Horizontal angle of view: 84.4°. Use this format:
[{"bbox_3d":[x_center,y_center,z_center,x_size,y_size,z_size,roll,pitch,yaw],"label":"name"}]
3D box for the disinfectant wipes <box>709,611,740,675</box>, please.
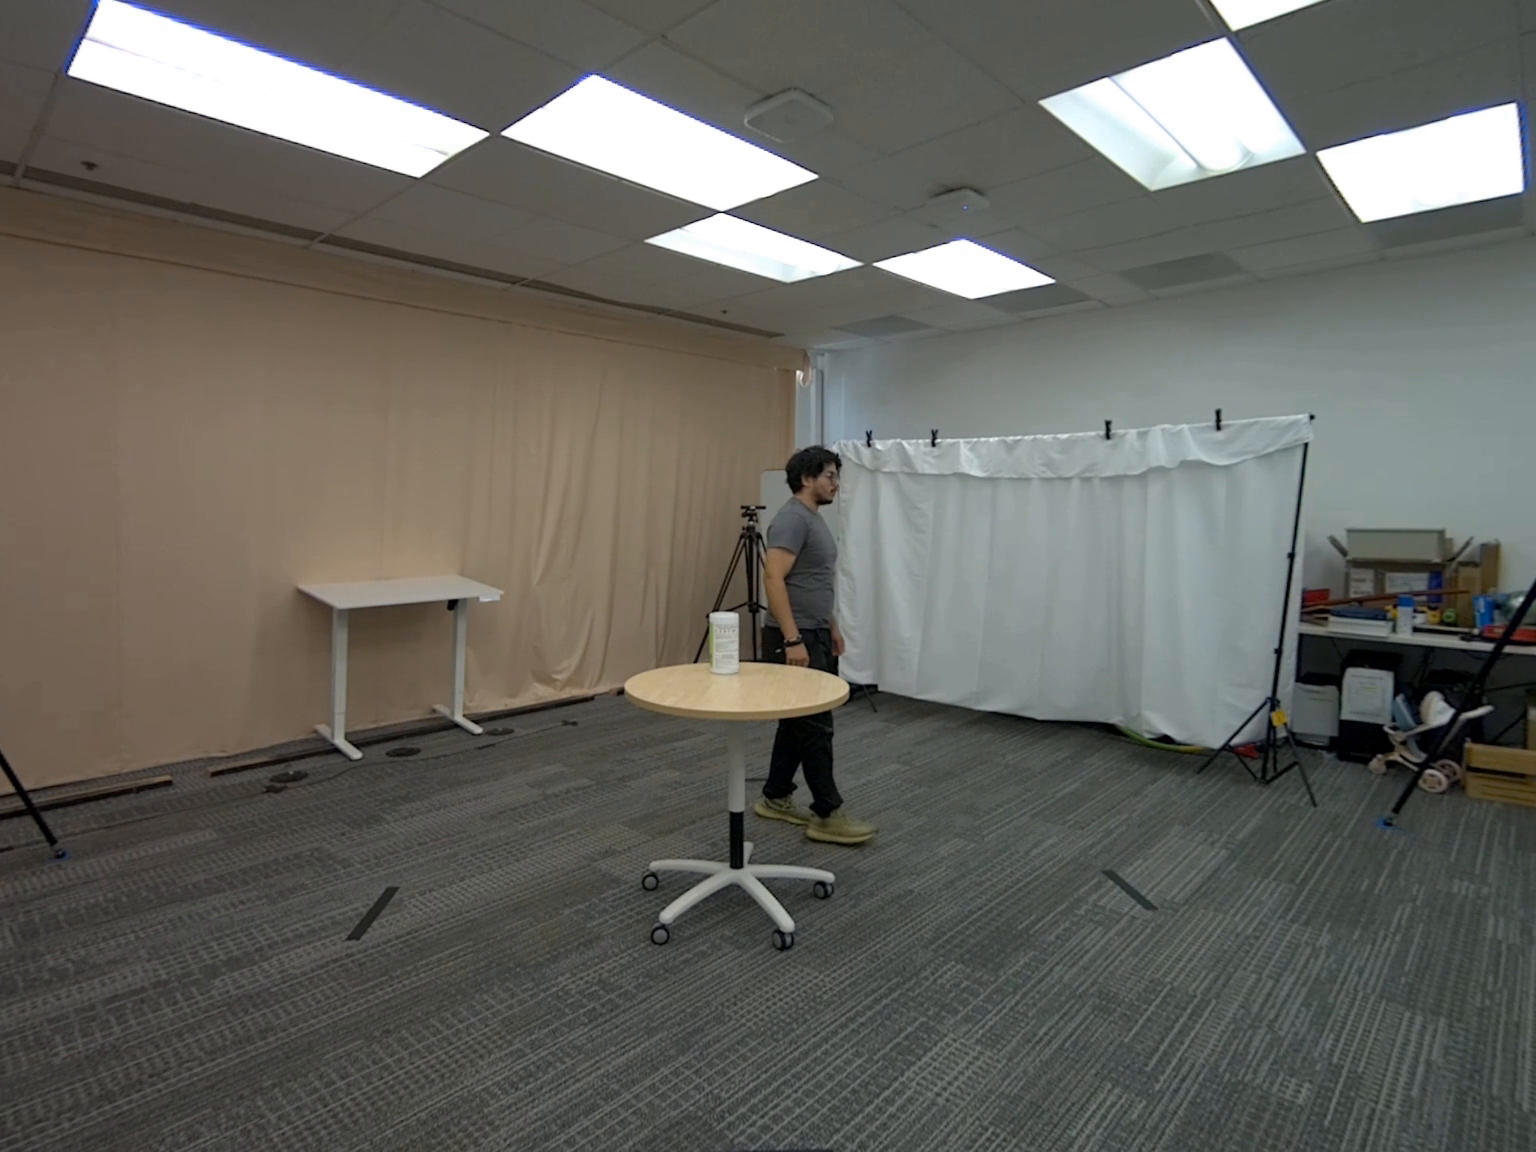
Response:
[{"bbox_3d":[-0.157,0.247,3.079,0.118,0.217,0.118,0,2,-2],"label":"disinfectant wipes"}]
